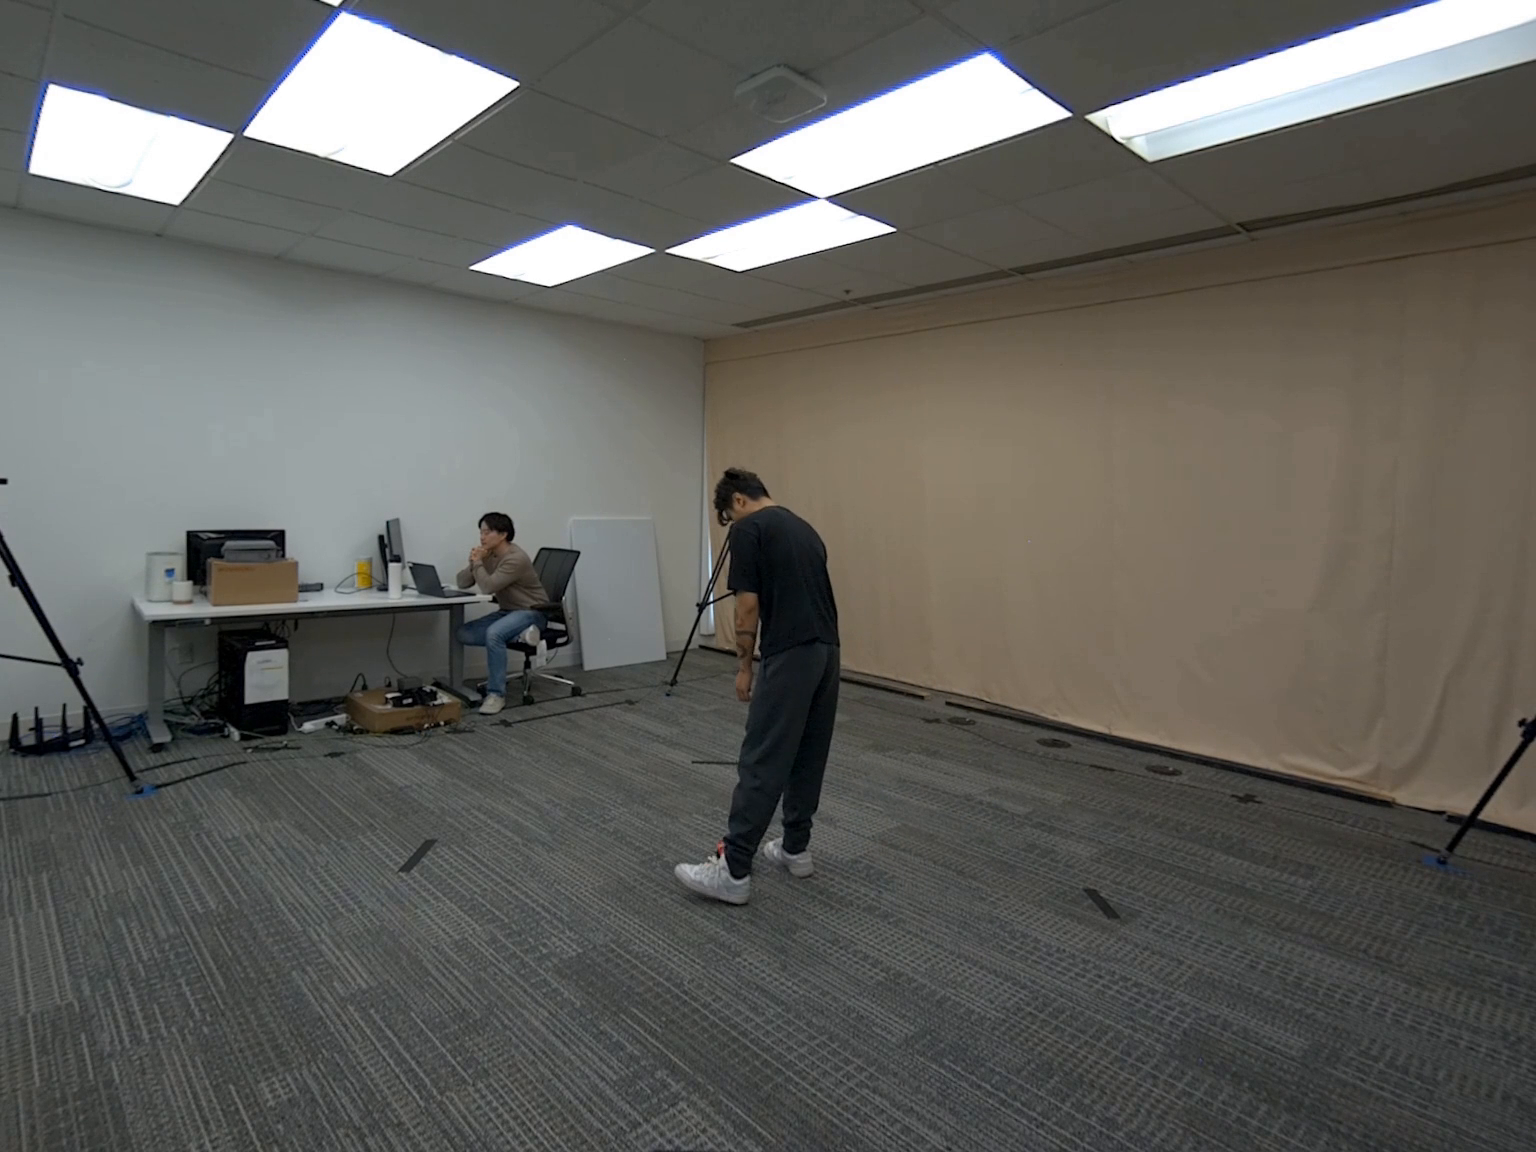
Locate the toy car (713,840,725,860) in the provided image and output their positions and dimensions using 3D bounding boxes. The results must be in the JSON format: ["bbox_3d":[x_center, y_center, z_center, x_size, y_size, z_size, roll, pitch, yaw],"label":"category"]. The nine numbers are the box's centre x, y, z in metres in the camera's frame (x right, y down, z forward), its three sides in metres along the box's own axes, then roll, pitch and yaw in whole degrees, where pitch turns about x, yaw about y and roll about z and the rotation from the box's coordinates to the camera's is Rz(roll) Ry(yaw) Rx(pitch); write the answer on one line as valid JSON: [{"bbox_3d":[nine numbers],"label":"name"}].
[{"bbox_3d":[-0.137,1.076,3.183,0.129,0.084,0.254,2,-7,-8],"label":"toy car"}]
